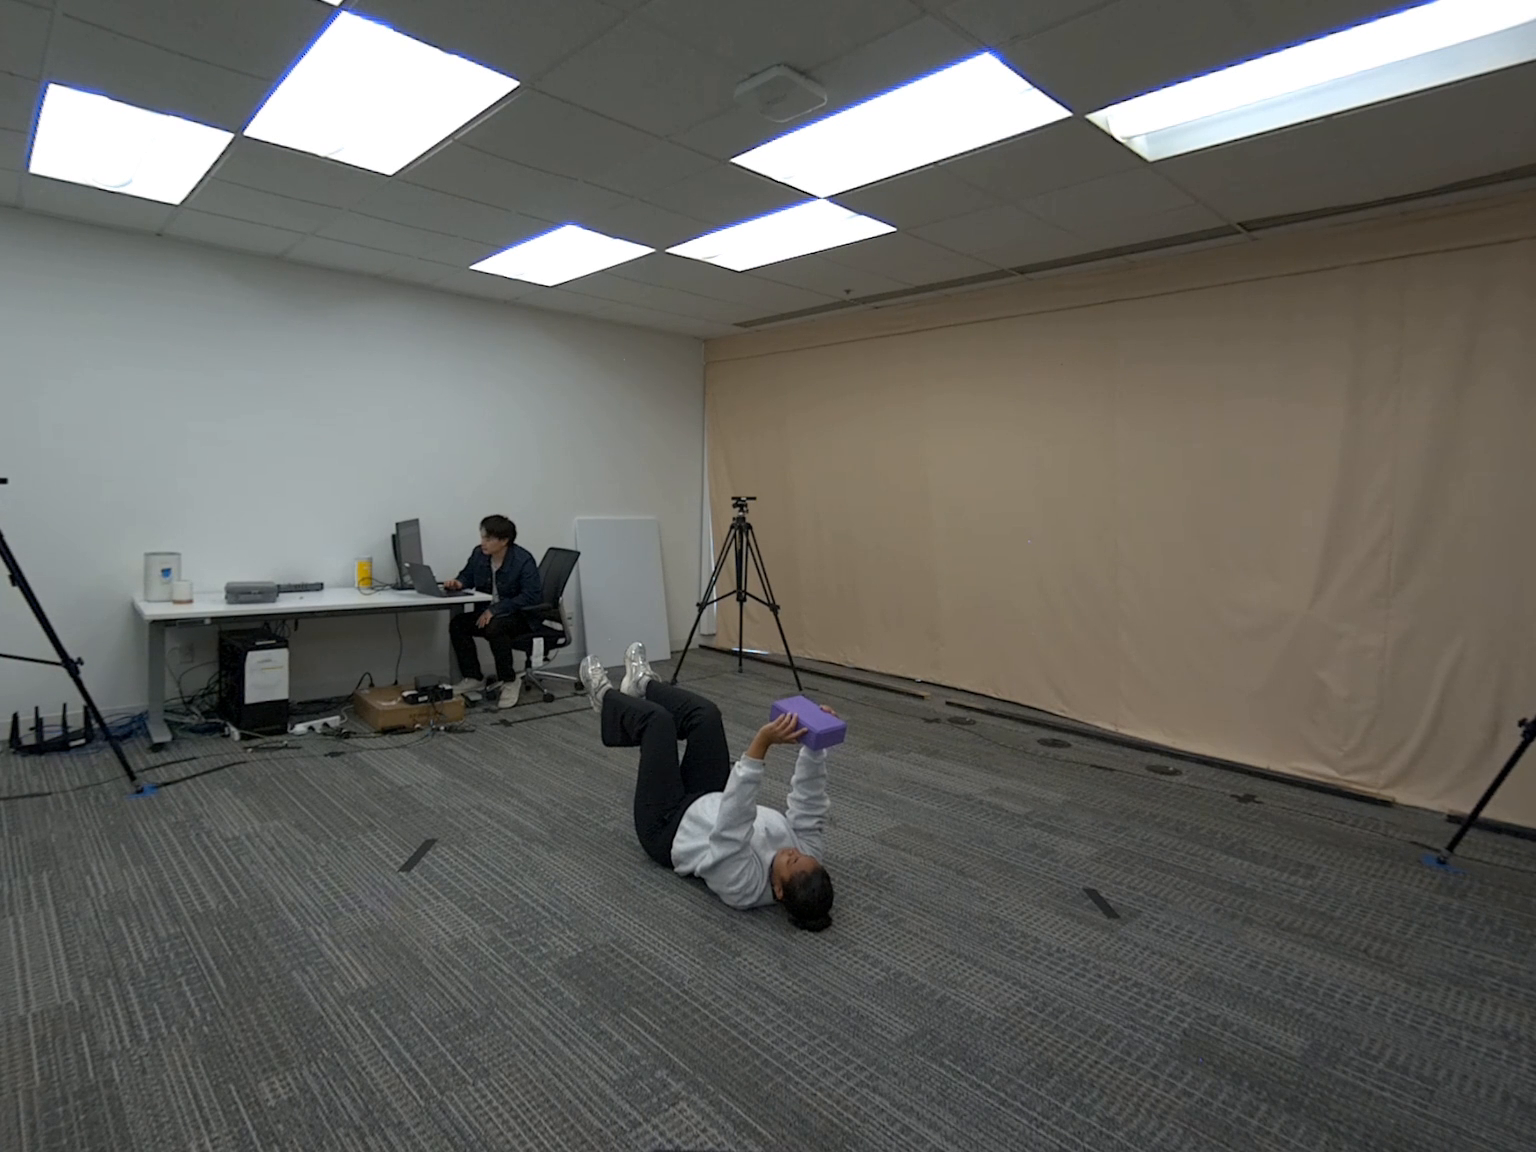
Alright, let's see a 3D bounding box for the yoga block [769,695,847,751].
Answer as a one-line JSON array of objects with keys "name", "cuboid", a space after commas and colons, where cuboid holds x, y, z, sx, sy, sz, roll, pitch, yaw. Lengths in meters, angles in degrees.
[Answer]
[{"name": "yoga block", "cuboid": [0.133, 0.495, 2.832, 0.236, 0.076, 0.146, 23, 21, 39]}]
